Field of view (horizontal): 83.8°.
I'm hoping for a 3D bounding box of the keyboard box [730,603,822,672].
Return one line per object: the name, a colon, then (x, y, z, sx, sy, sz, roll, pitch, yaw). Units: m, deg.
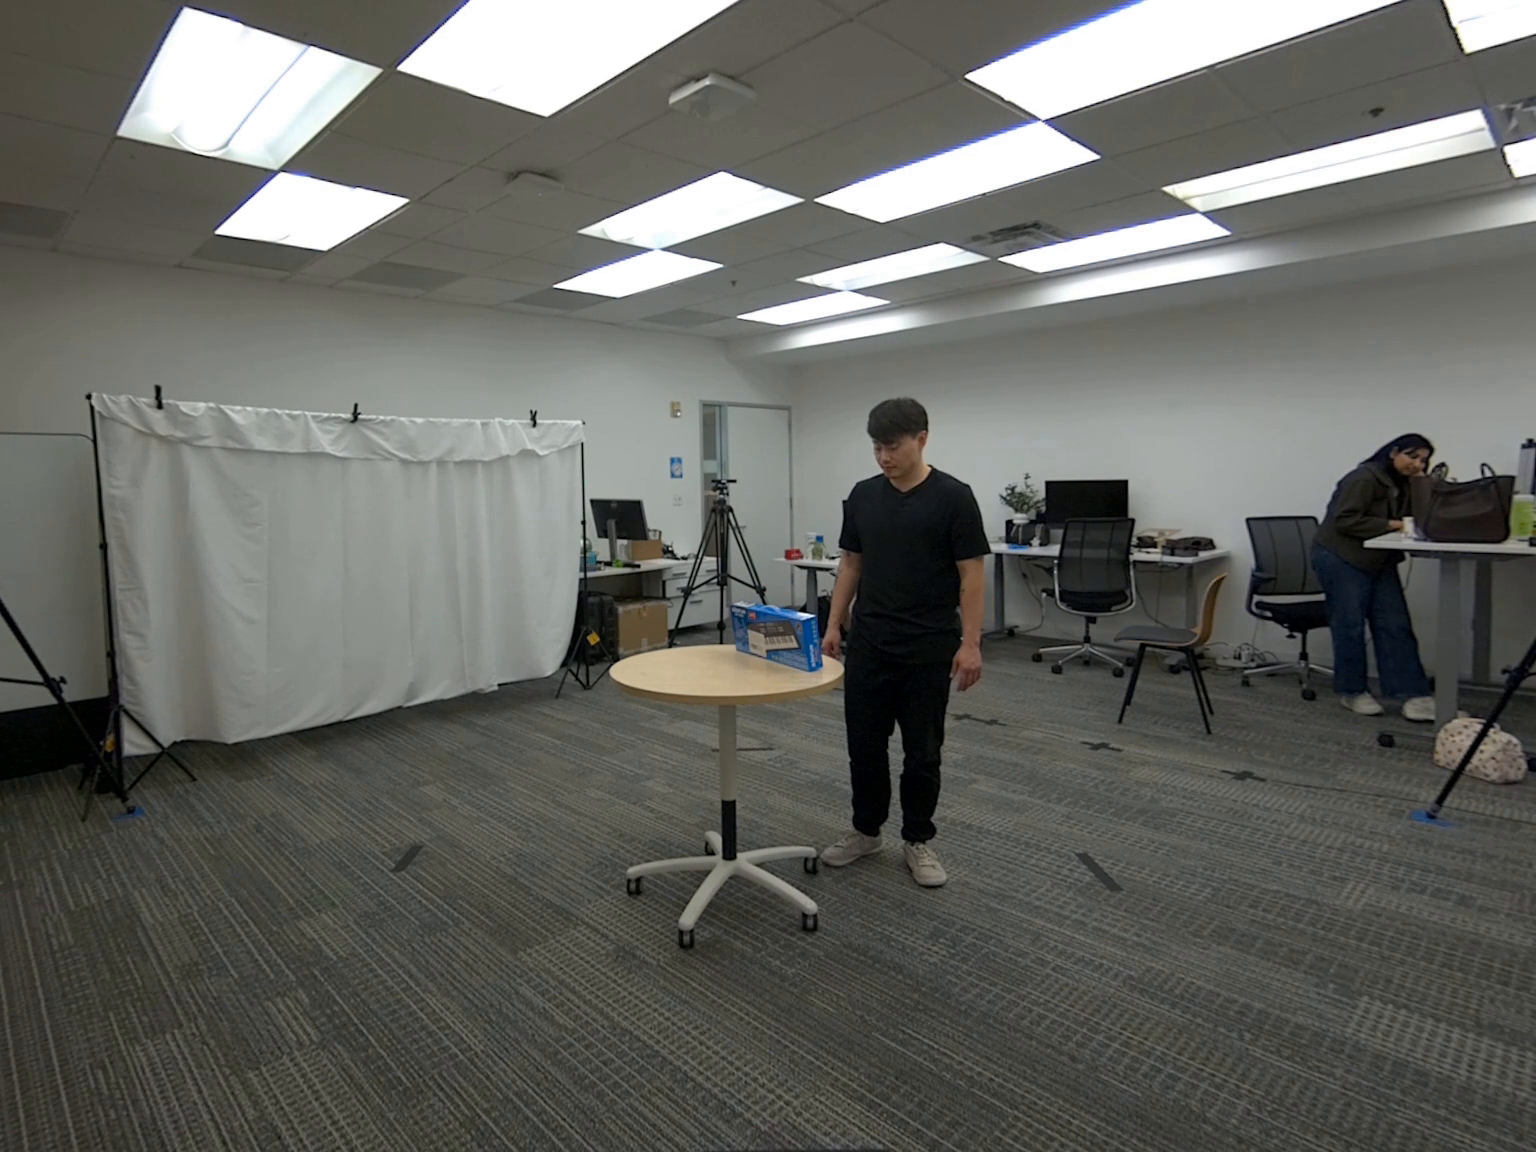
keyboard box: (0.027, 0.199, 2.900, 0.058, 0.174, 0.449, -11, 10, -31)
